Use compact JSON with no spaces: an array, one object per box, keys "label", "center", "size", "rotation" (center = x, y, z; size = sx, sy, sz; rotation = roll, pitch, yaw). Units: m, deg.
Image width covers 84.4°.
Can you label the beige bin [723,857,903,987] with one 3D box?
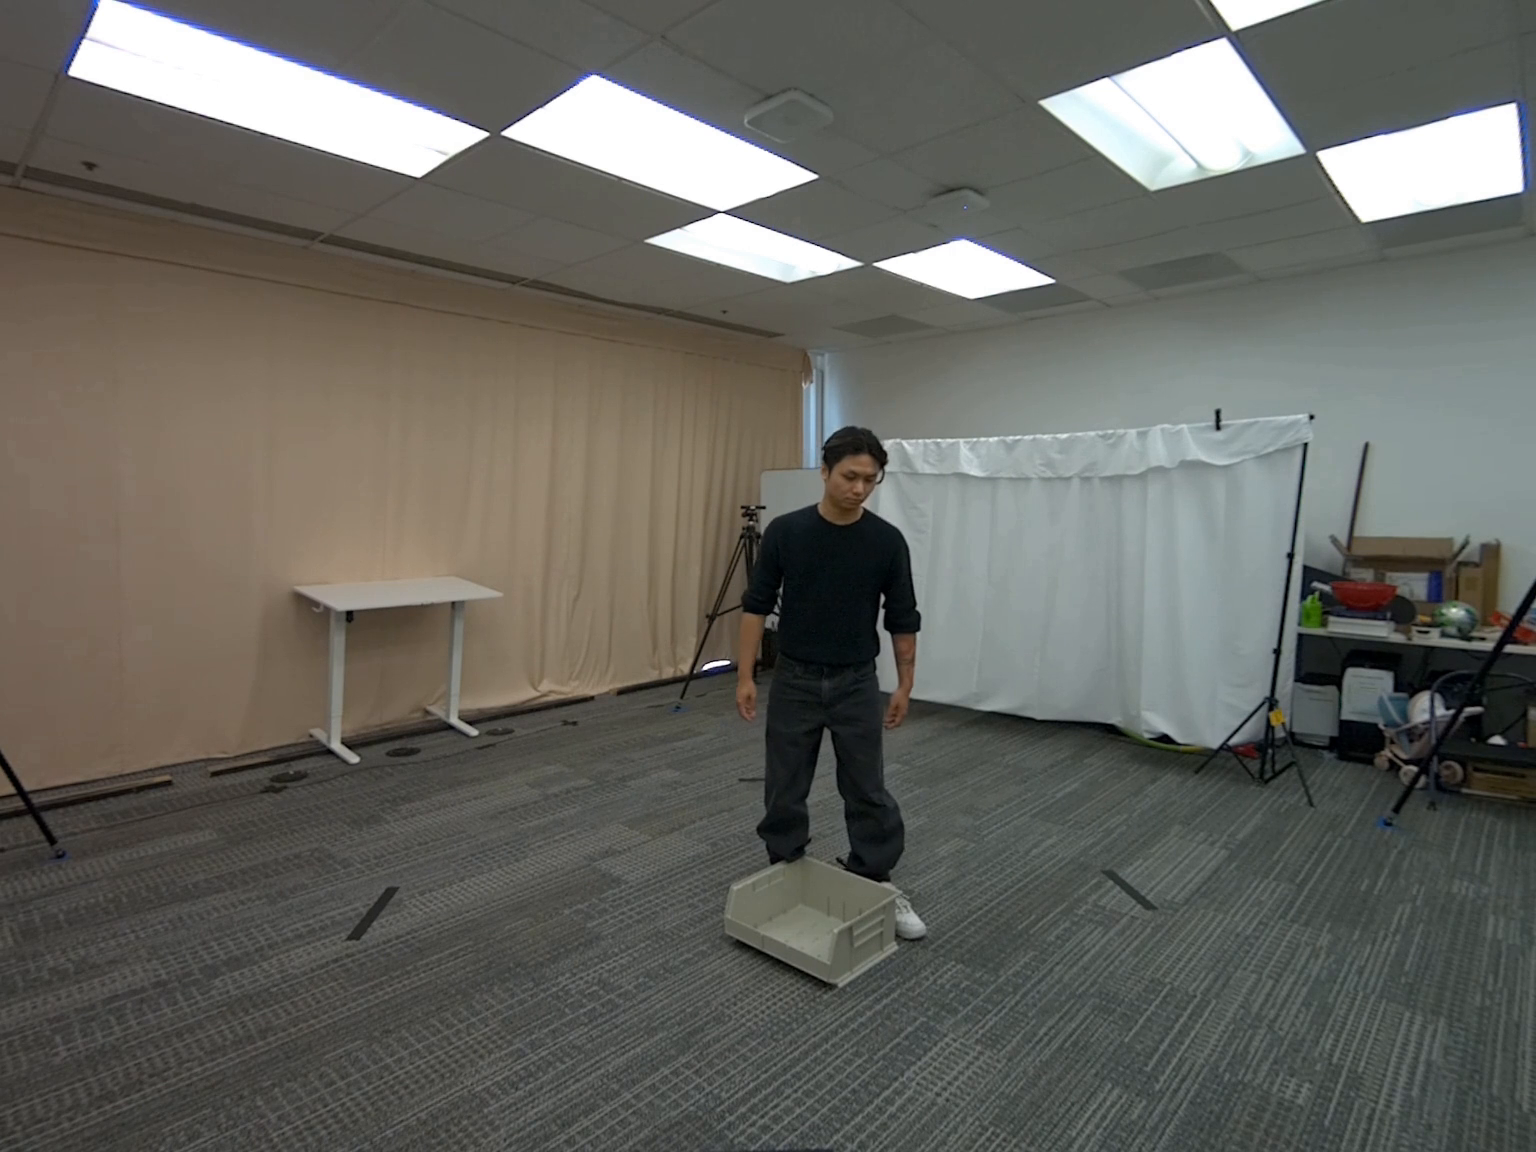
[{"label":"beige bin","center":[0.142,1.087,2.652],"size":[0.436,0.189,0.365],"rotation":[4,4,44]}]
